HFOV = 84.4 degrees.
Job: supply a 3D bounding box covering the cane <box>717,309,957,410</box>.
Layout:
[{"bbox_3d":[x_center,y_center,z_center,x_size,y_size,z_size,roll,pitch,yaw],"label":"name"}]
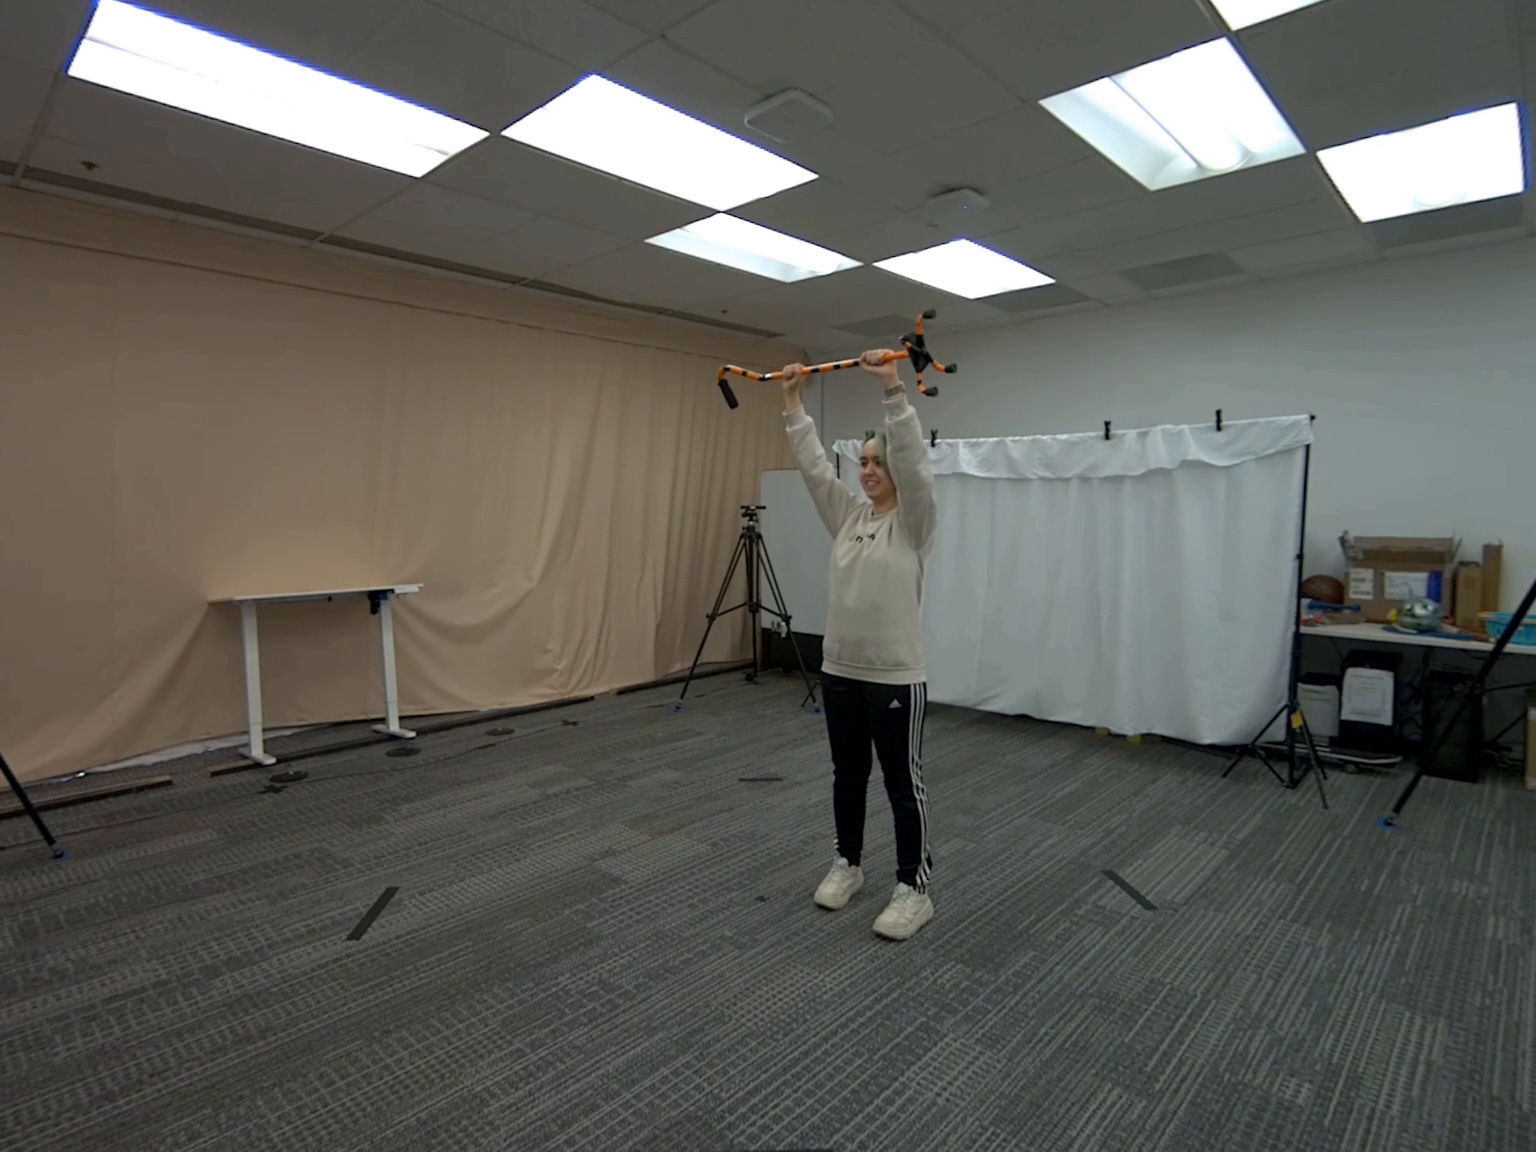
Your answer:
[{"bbox_3d":[0.143,-0.653,2.697,0.938,0.201,0.150,4,43,47],"label":"cane"}]
